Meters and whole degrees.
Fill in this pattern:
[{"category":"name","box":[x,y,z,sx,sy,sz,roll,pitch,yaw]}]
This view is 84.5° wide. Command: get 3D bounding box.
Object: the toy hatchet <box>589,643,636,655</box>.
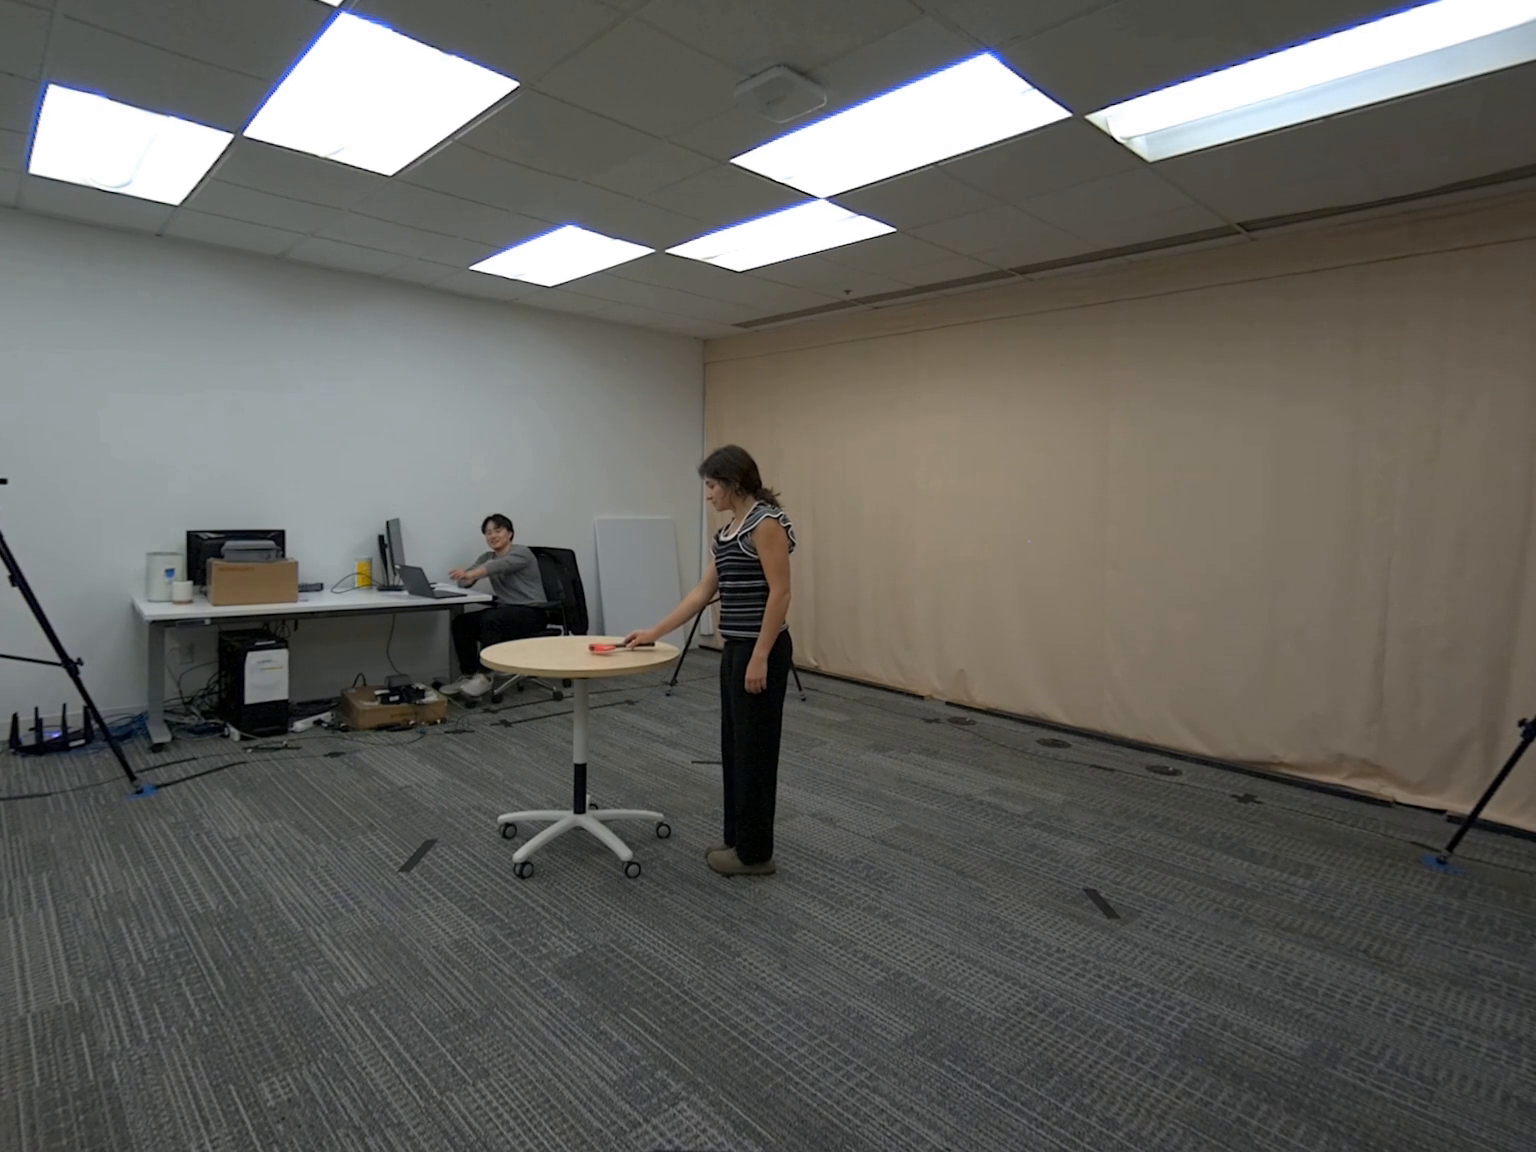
[{"category":"toy hatchet","box":[-0.562,0.277,3.255,0.266,0.029,0.133,-1,-1,-19]}]
